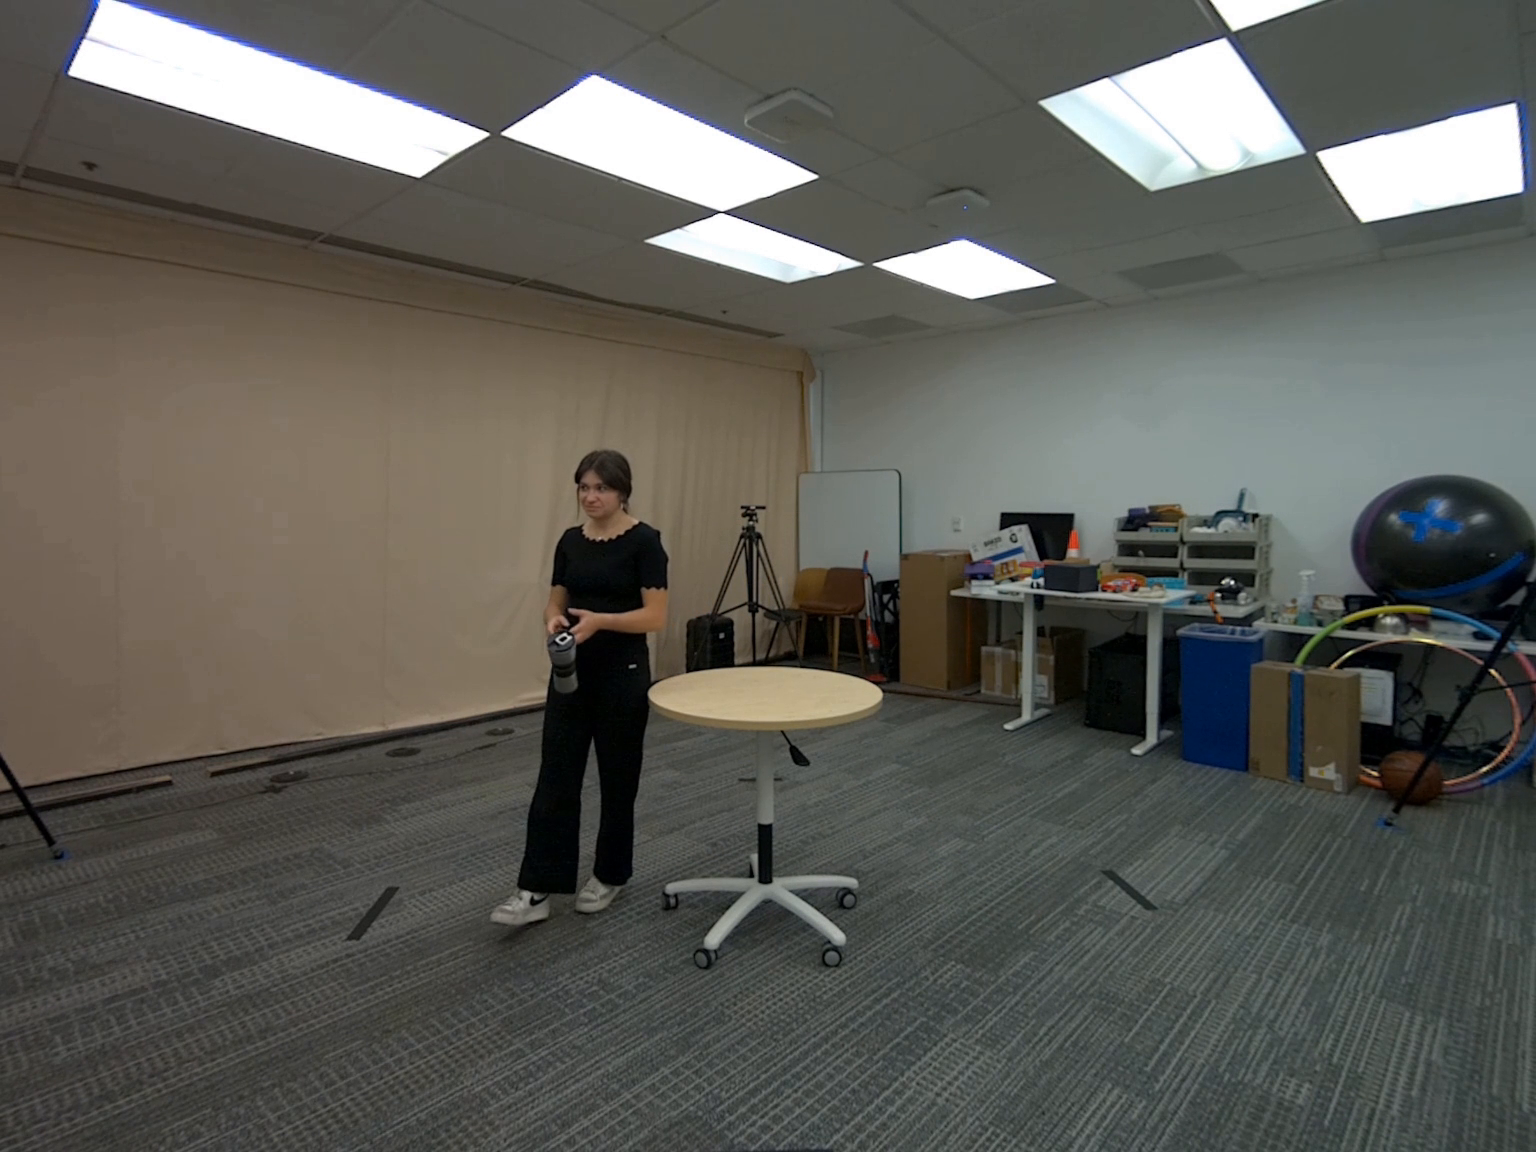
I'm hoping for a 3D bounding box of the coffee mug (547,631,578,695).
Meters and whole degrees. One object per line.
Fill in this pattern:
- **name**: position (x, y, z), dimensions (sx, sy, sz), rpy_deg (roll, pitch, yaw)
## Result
- **coffee mug**: position (-0.637, 0.273, 2.639), dimensions (0.086, 0.199, 0.126), rpy_deg (-10, 40, -16)
